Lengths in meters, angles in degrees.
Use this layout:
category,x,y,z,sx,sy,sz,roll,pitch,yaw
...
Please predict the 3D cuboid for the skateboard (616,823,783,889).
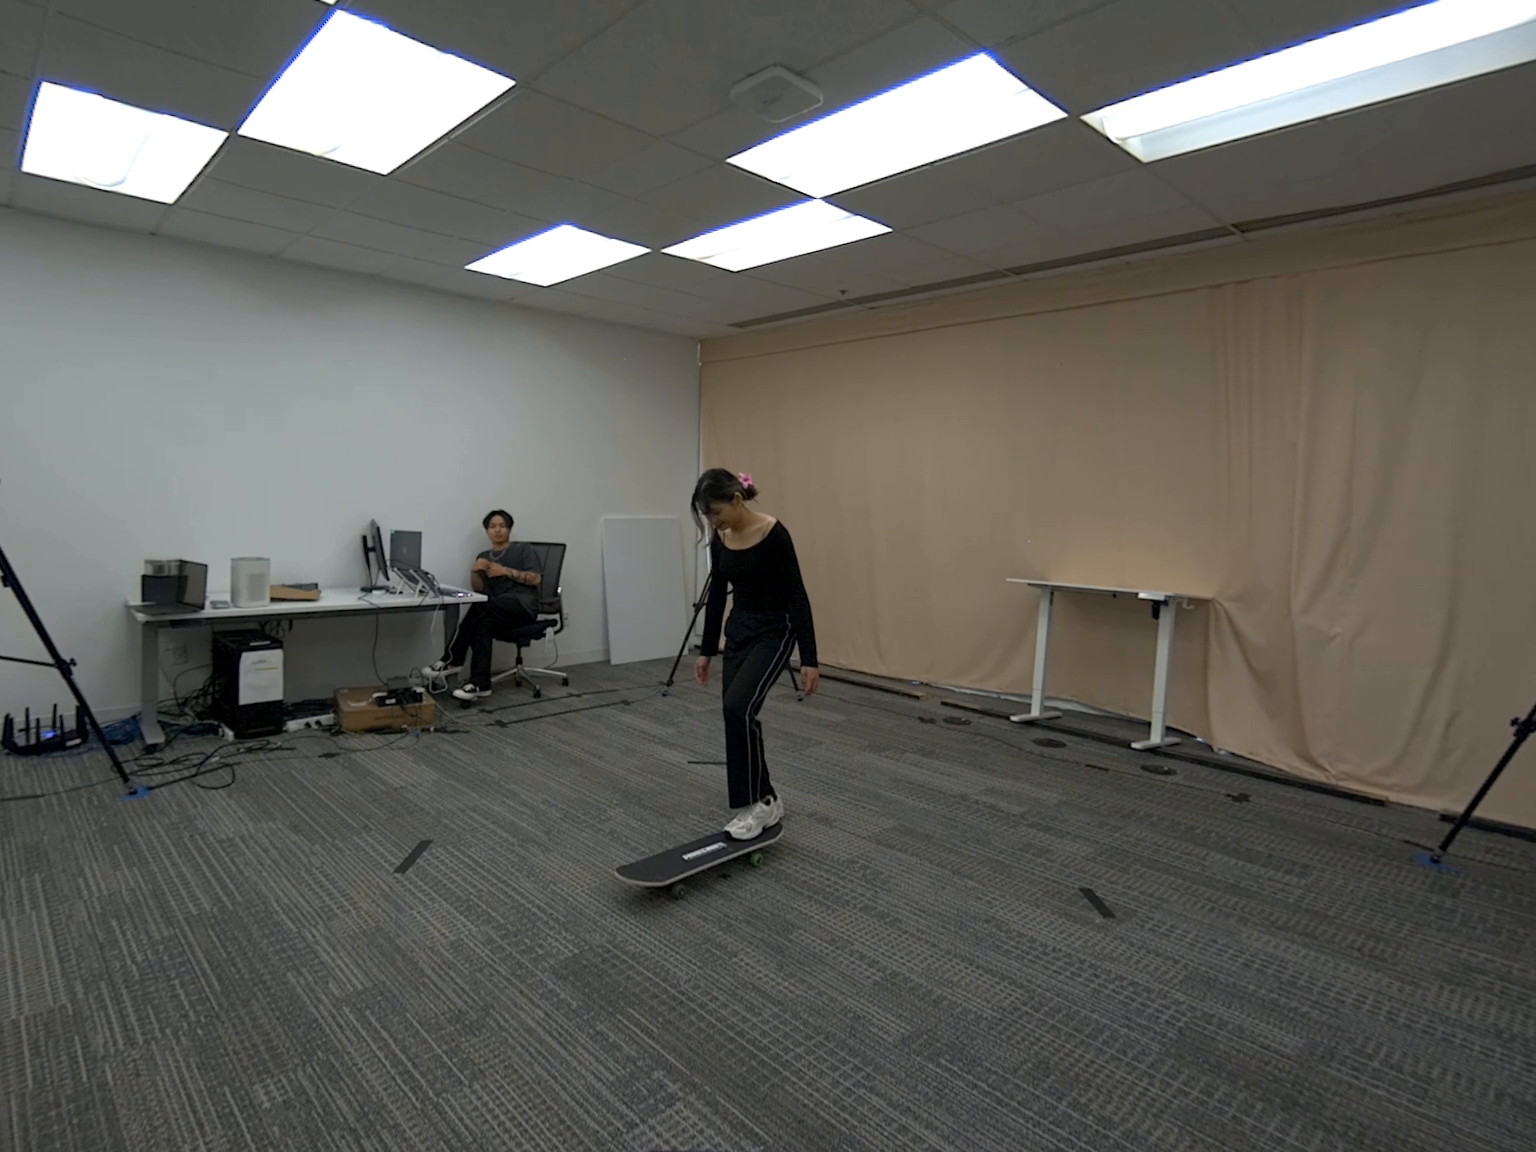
category,x,y,z,sx,sy,sz,roll,pitch,yaw
skateboard,-0.237,1.045,3.105,0.198,0.110,0.767,5,4,42
